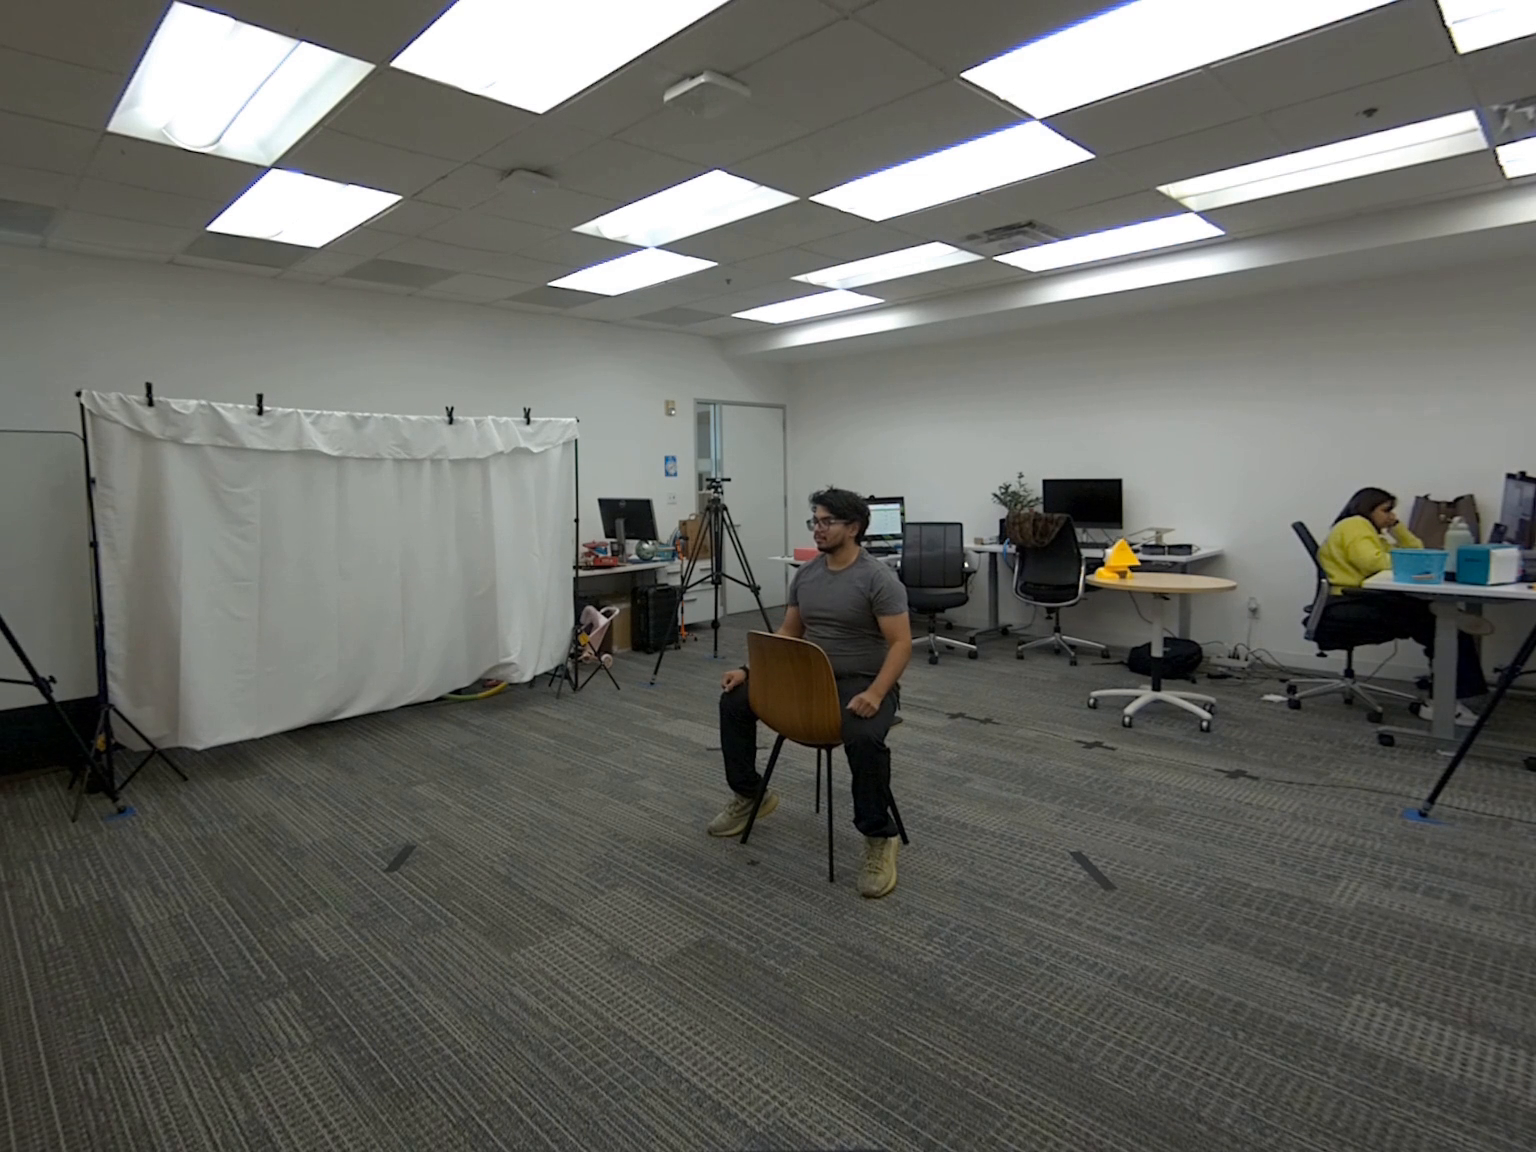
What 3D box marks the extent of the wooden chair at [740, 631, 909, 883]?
[{"bbox_3d":[0.215,0.601,3.233,0.511,0.872,0.493,-11,10,-43],"label":"wooden chair"}]
